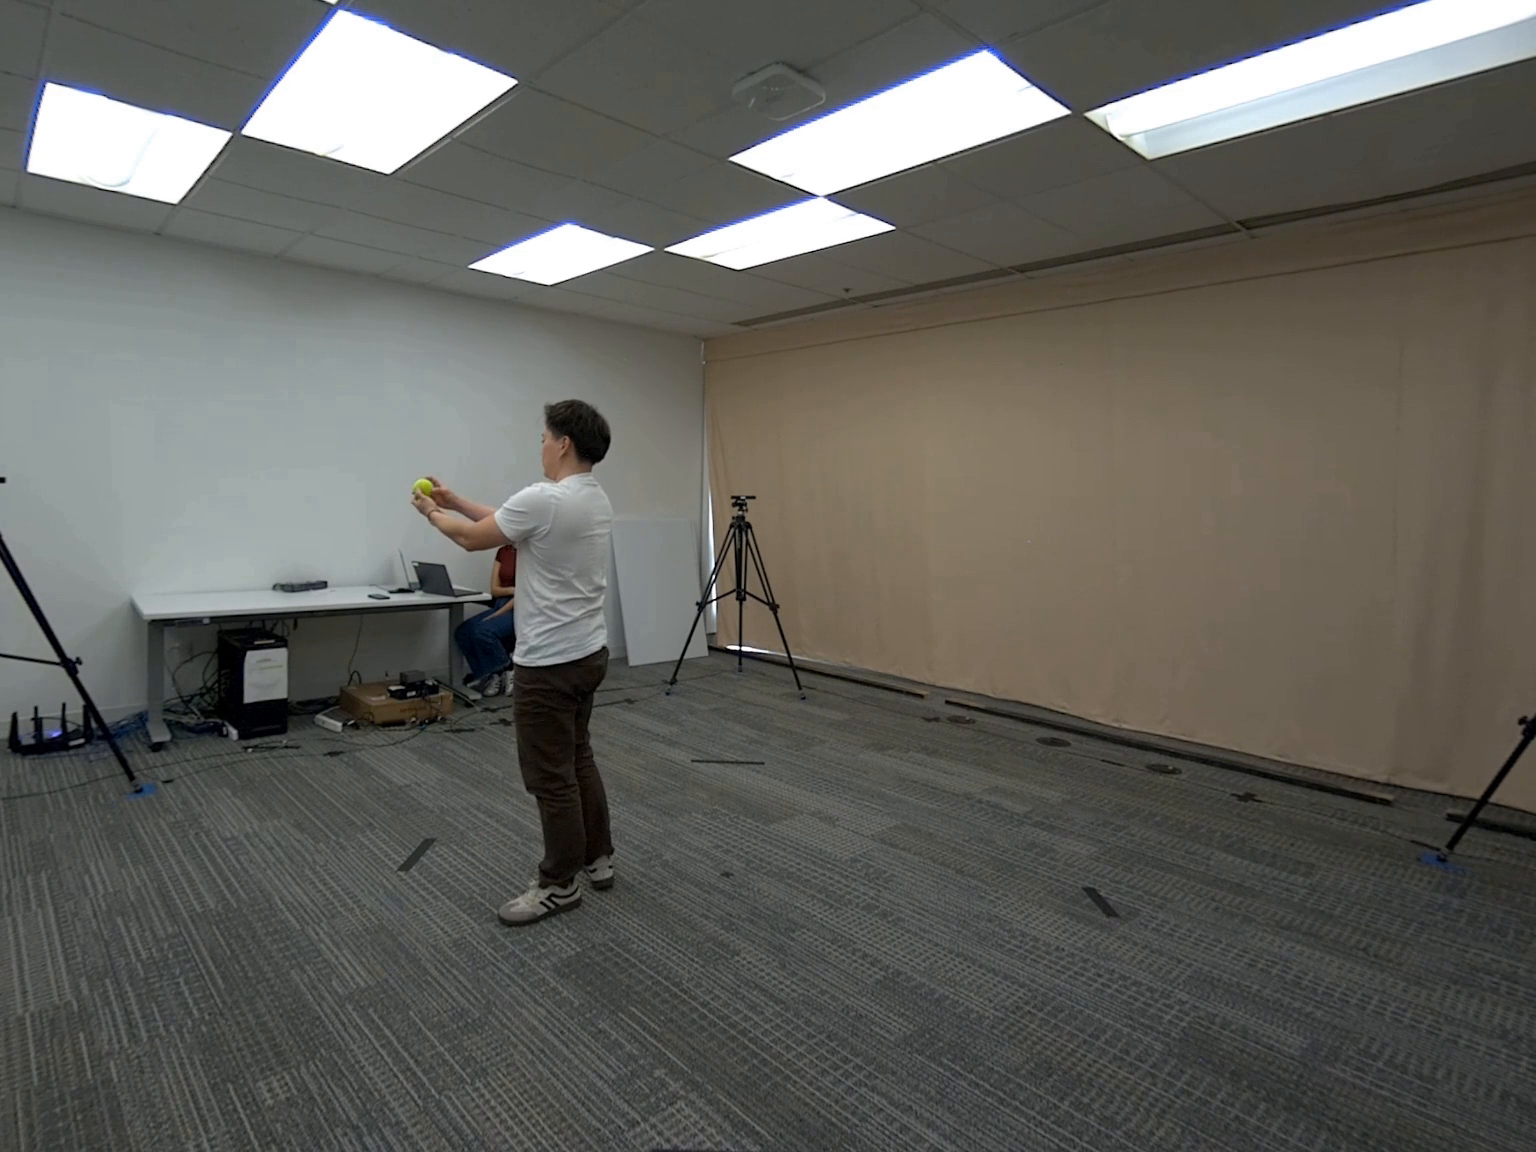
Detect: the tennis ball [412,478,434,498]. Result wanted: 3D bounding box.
[{"bbox_3d":[-1.198,-0.302,2.920,0.066,0.066,0.067,1,4,-1],"label":"tennis ball"}]
